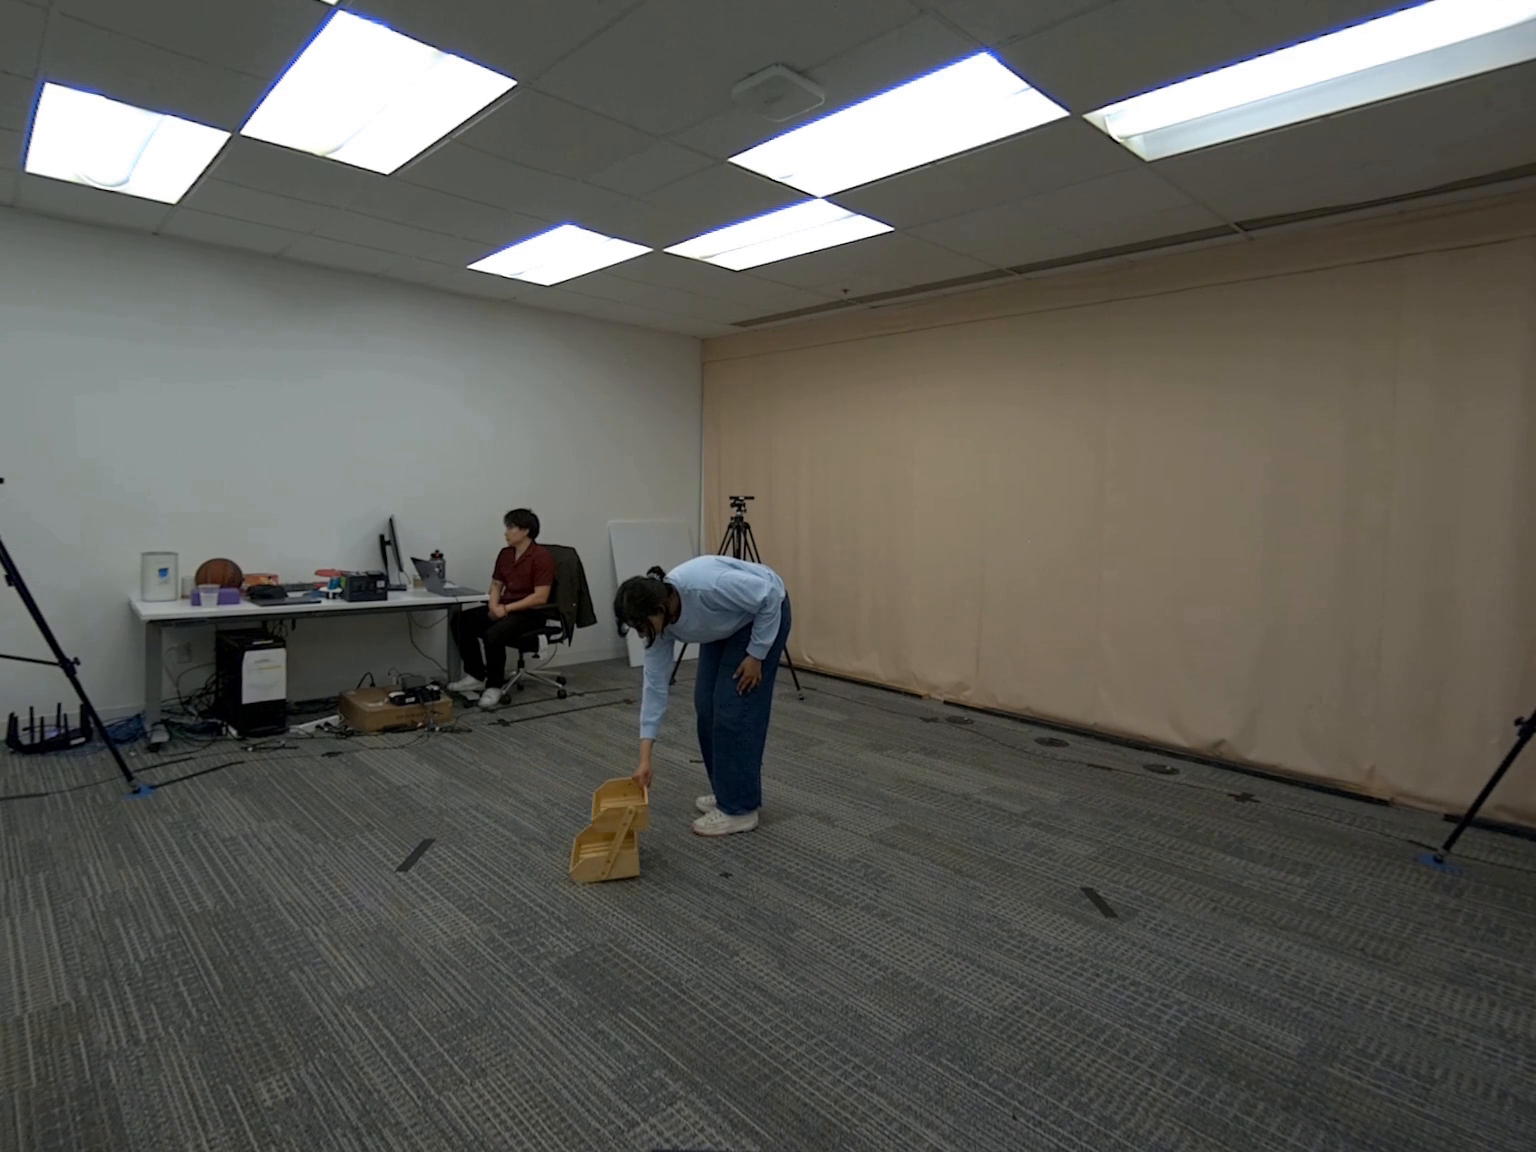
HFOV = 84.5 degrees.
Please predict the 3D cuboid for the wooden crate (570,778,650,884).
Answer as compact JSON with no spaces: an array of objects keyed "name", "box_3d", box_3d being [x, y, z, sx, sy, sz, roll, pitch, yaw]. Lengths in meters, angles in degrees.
[{"name":"wooden crate","box_3d":[-0.613,0.945,3.165,0.300,0.272,0.327,-5,6,-8]}]
